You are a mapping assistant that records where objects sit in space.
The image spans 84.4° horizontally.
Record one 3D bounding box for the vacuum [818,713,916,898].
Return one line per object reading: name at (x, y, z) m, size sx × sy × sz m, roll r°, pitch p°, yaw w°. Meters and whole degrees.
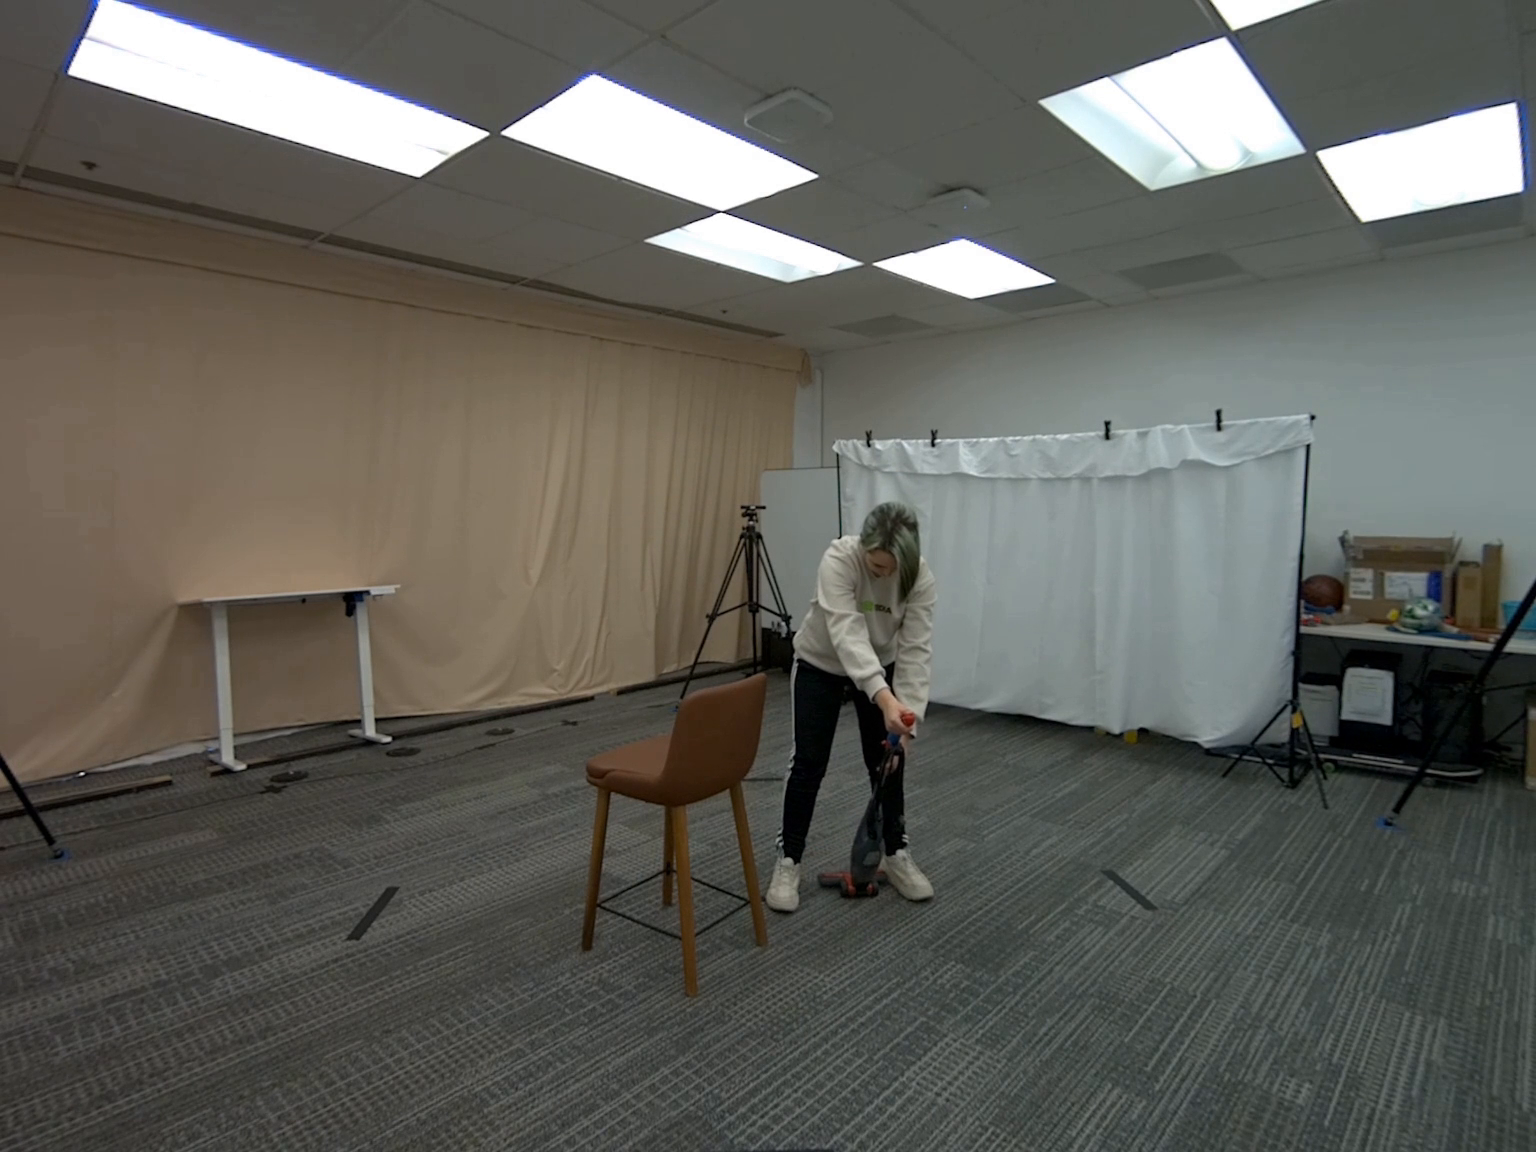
vacuum at (0.354, 0.758, 2.676) m, size 0.253 × 1.032 × 0.146 m, roll 6°, pitch 45°, yaw 0°
